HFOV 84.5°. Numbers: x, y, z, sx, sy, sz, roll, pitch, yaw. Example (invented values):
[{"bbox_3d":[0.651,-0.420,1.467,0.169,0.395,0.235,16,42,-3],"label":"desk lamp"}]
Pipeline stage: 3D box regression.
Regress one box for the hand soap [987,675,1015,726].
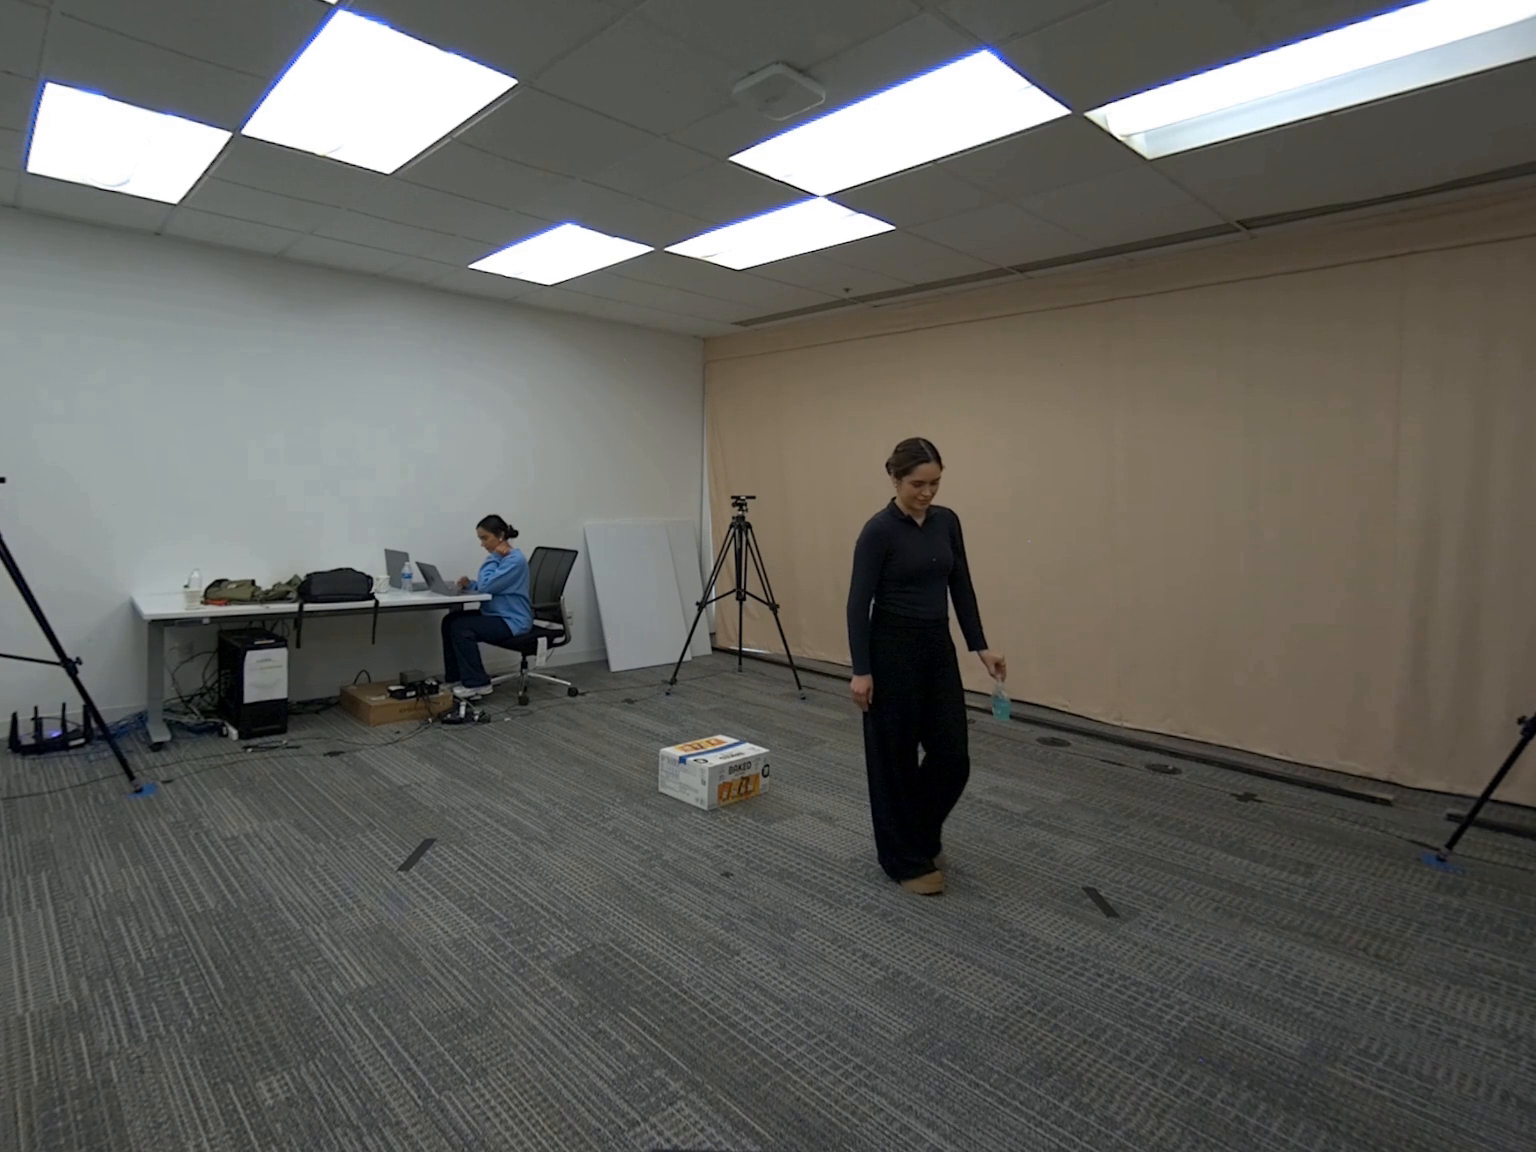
[{"bbox_3d":[0.838,0.444,3.052,0.042,0.168,0.086,-4,3,-26],"label":"hand soap"}]
